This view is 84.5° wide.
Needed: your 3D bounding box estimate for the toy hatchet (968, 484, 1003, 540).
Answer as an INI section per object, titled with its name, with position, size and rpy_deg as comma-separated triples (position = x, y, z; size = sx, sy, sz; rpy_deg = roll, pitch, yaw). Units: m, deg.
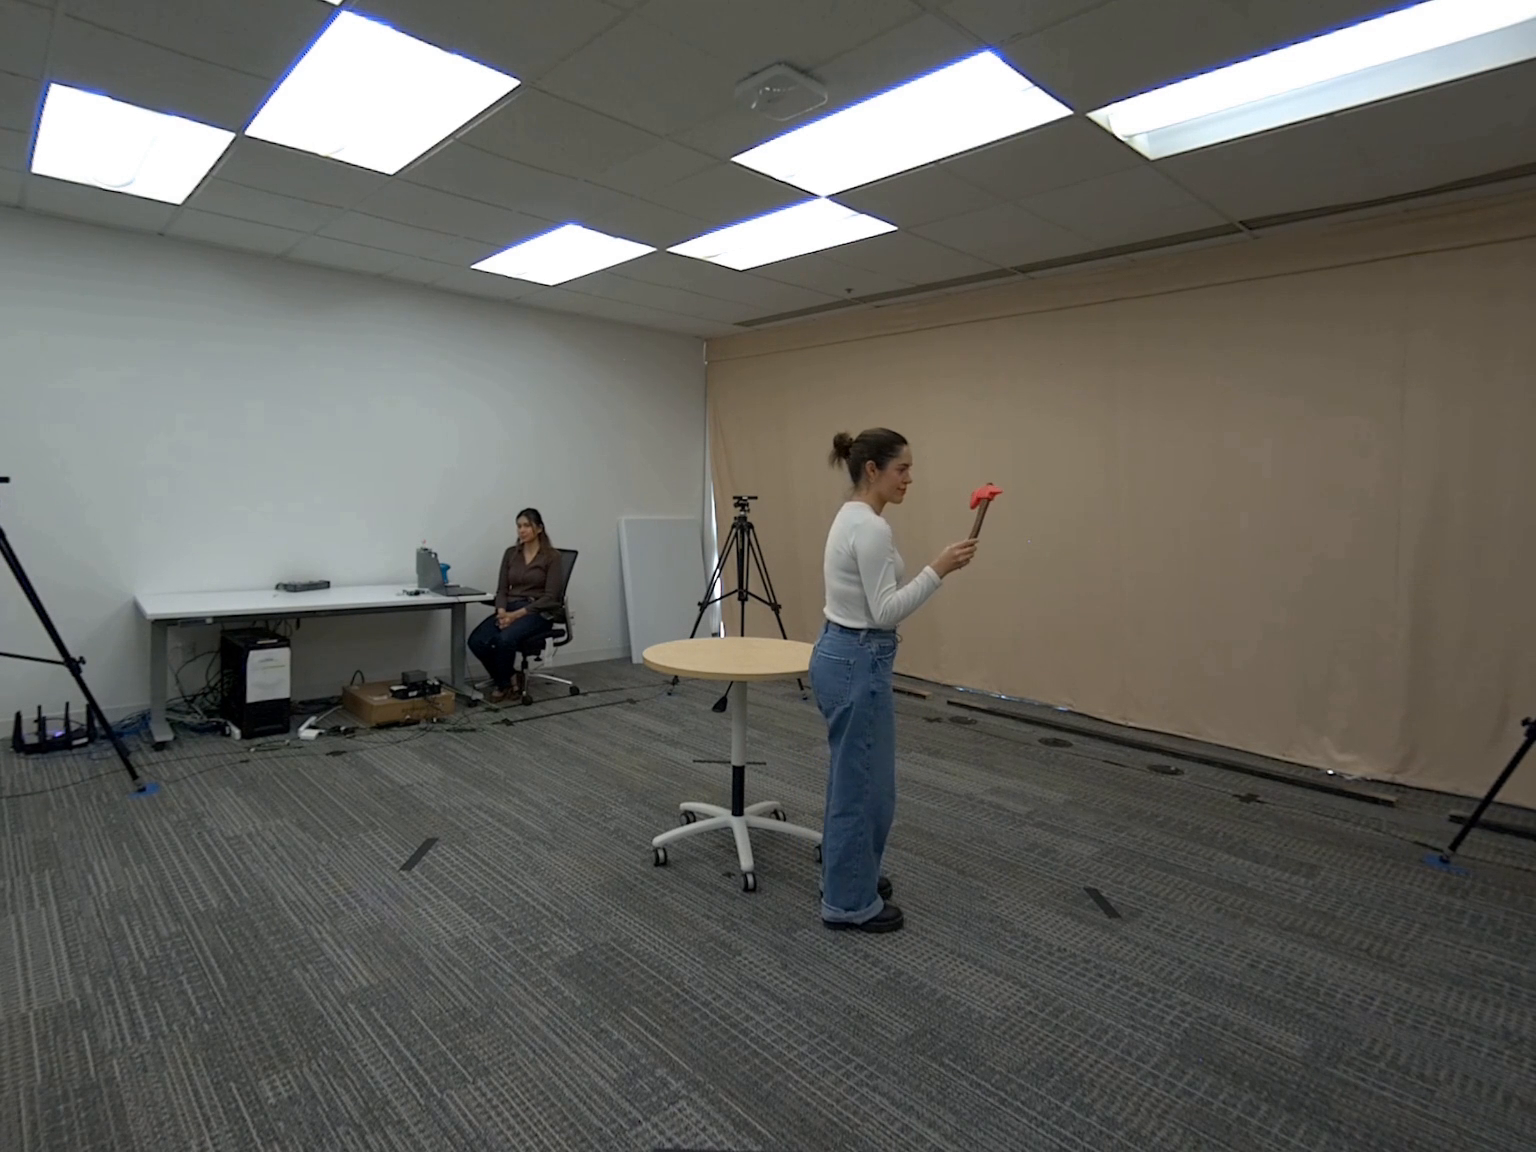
[toy hatchet]
position = 0.604, -0.164, 2.544
size = 0.029, 0.269, 0.134
rpy_deg = 23, 10, -25
